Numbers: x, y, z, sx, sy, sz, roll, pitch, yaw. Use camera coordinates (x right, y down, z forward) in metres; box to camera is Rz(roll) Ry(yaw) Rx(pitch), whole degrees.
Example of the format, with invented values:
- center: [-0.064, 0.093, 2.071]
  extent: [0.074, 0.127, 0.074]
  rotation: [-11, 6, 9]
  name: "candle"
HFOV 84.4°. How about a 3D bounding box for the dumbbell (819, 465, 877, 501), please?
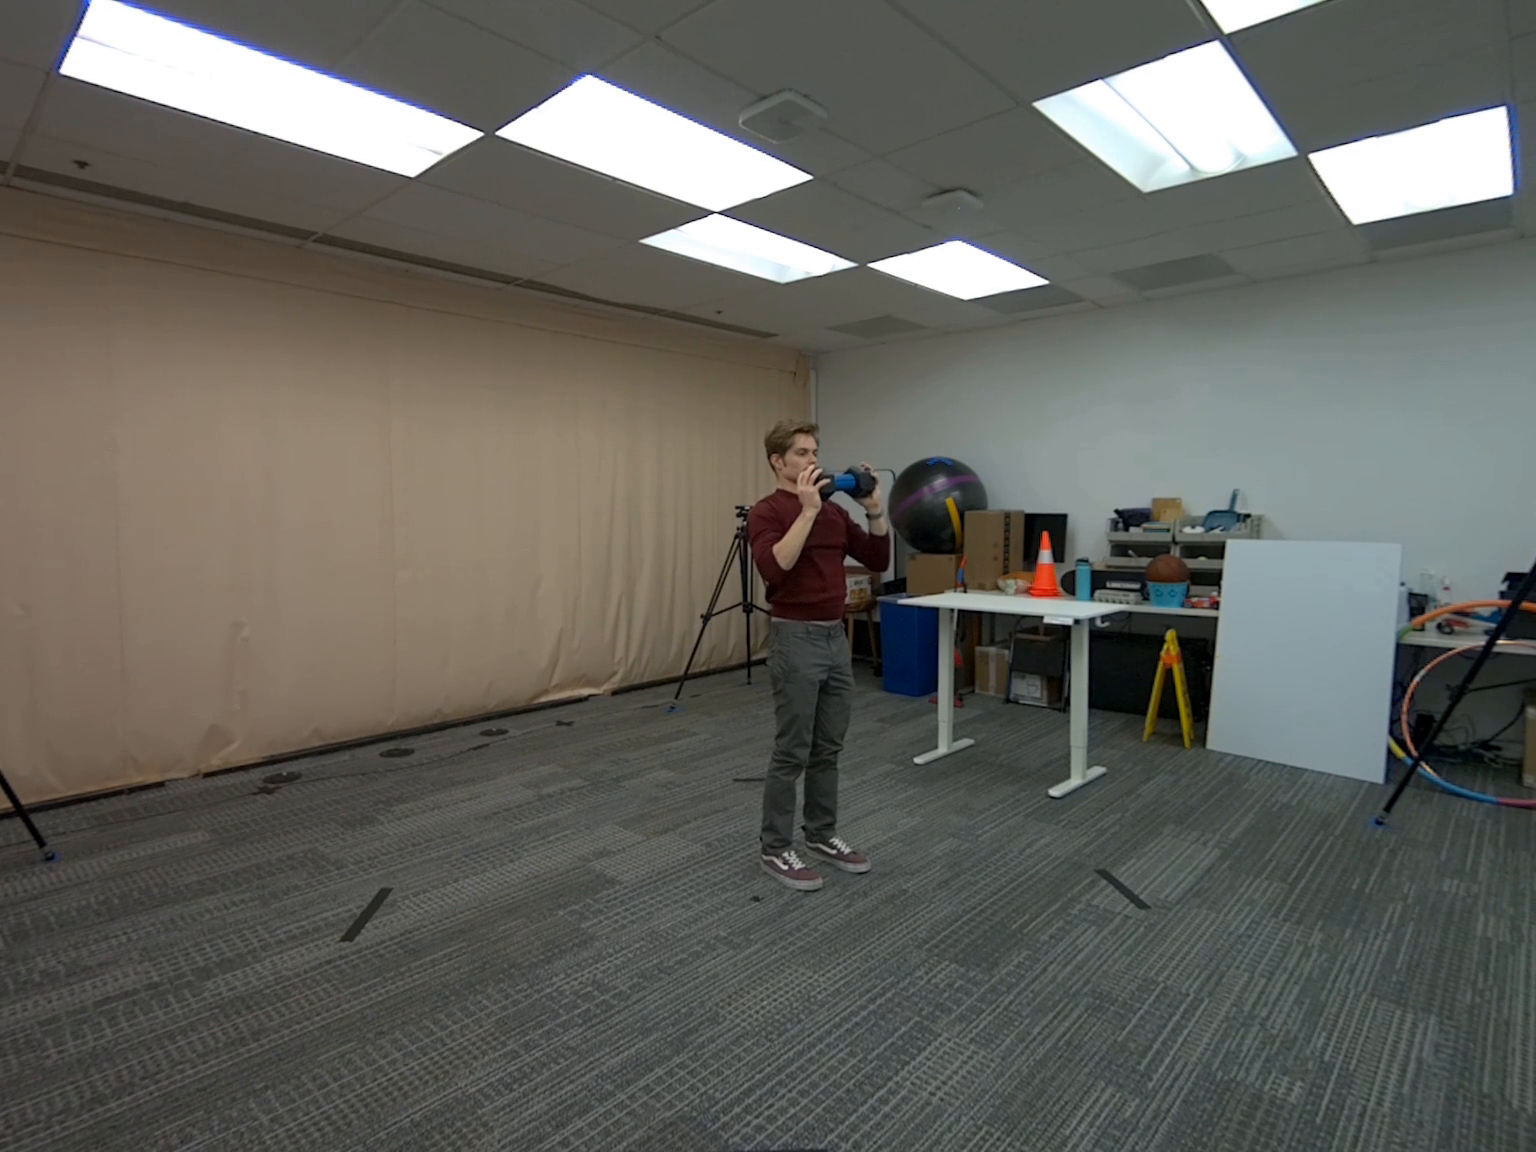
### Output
- center: [0.254, -0.343, 3.043]
  extent: [0.285, 0.123, 0.112]
  rotation: [-9, 1, -38]
  name: "dumbbell"
